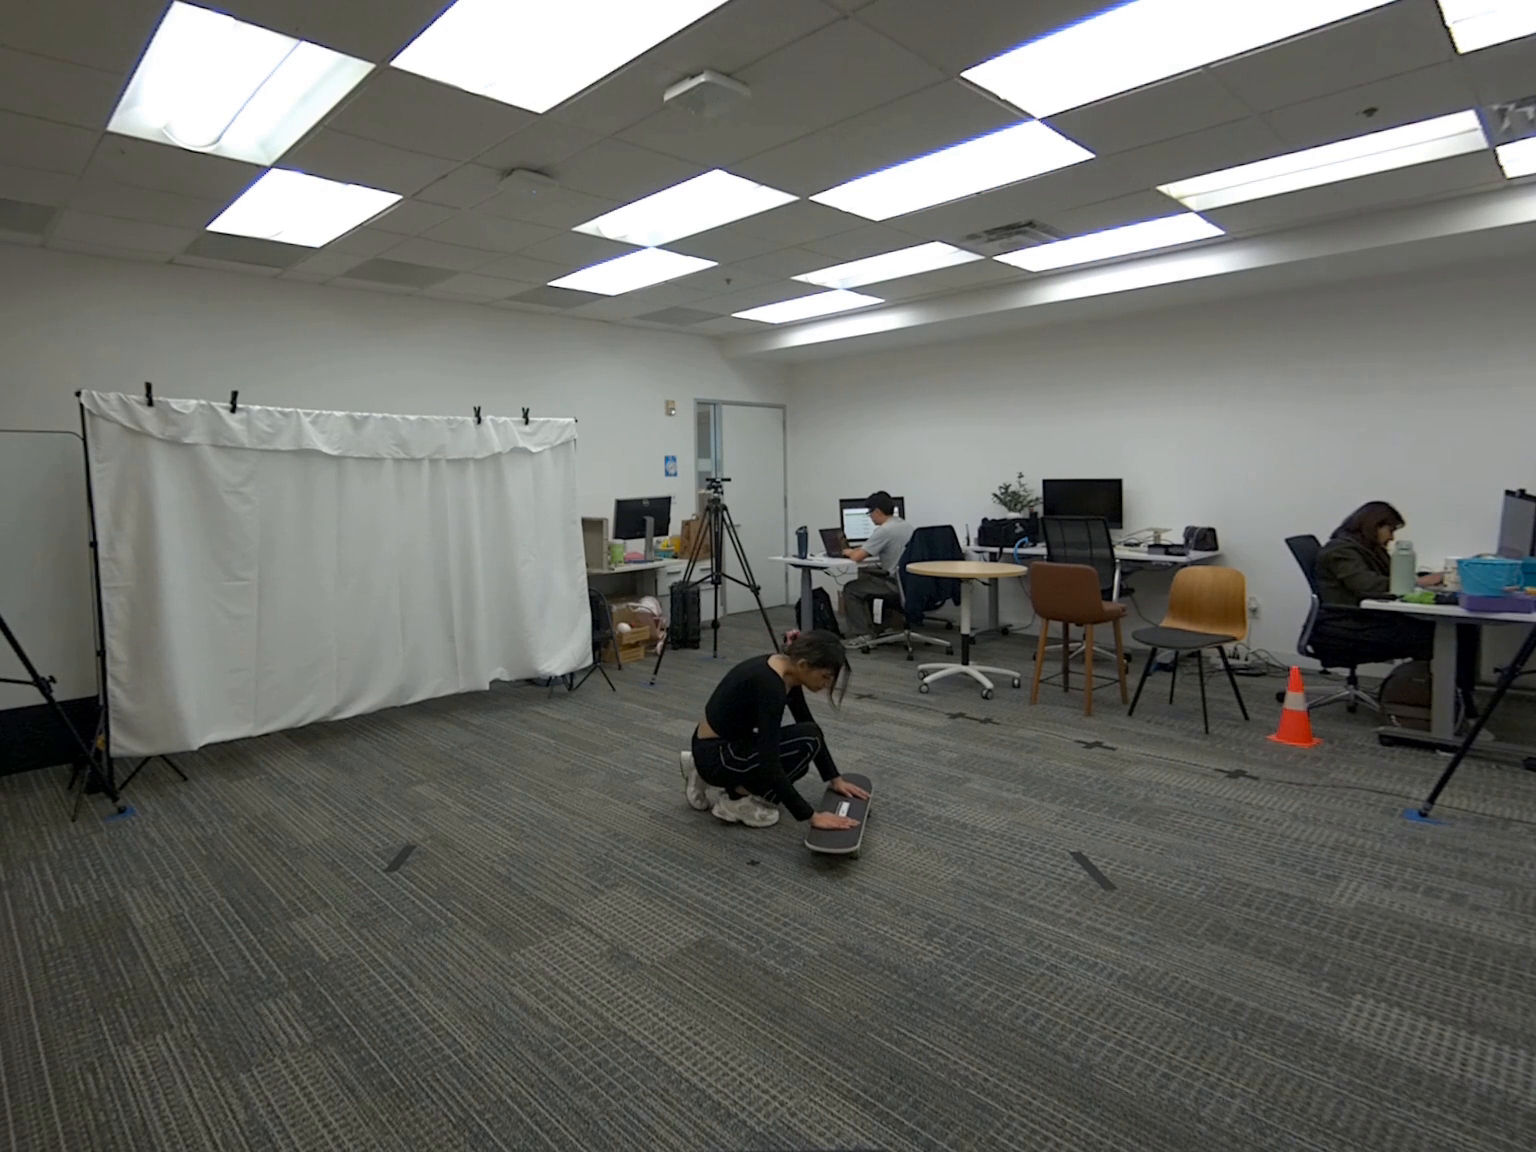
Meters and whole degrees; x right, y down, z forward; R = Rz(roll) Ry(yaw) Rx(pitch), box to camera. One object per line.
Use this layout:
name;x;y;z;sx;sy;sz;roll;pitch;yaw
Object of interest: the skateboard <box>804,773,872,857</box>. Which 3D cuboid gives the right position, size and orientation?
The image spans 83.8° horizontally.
skateboard;0.284;0.952;3.332;0.196;0.110;0.779;0;6;12
